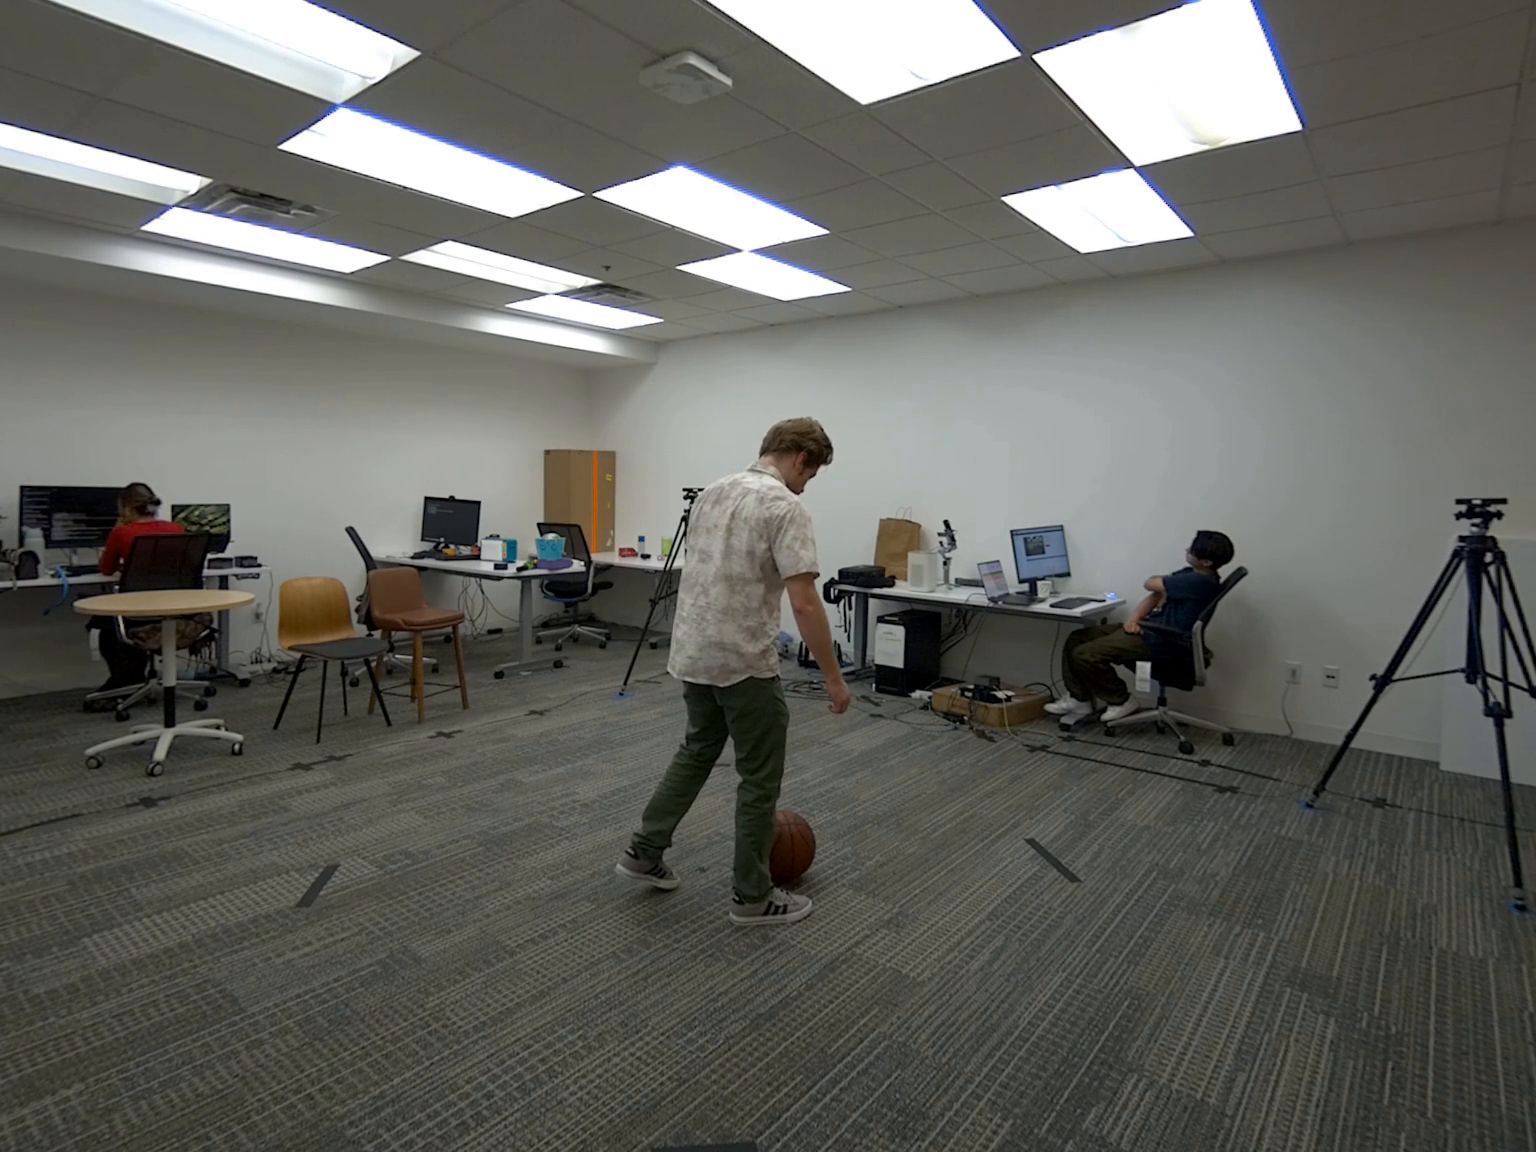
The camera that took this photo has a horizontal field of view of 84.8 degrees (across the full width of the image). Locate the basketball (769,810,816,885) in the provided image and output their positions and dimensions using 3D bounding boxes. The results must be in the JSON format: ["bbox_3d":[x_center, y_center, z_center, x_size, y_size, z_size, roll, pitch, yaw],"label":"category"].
[{"bbox_3d":[0.043,0.953,3.053,0.235,0.235,0.237,1,4,-2],"label":"basketball"}]
